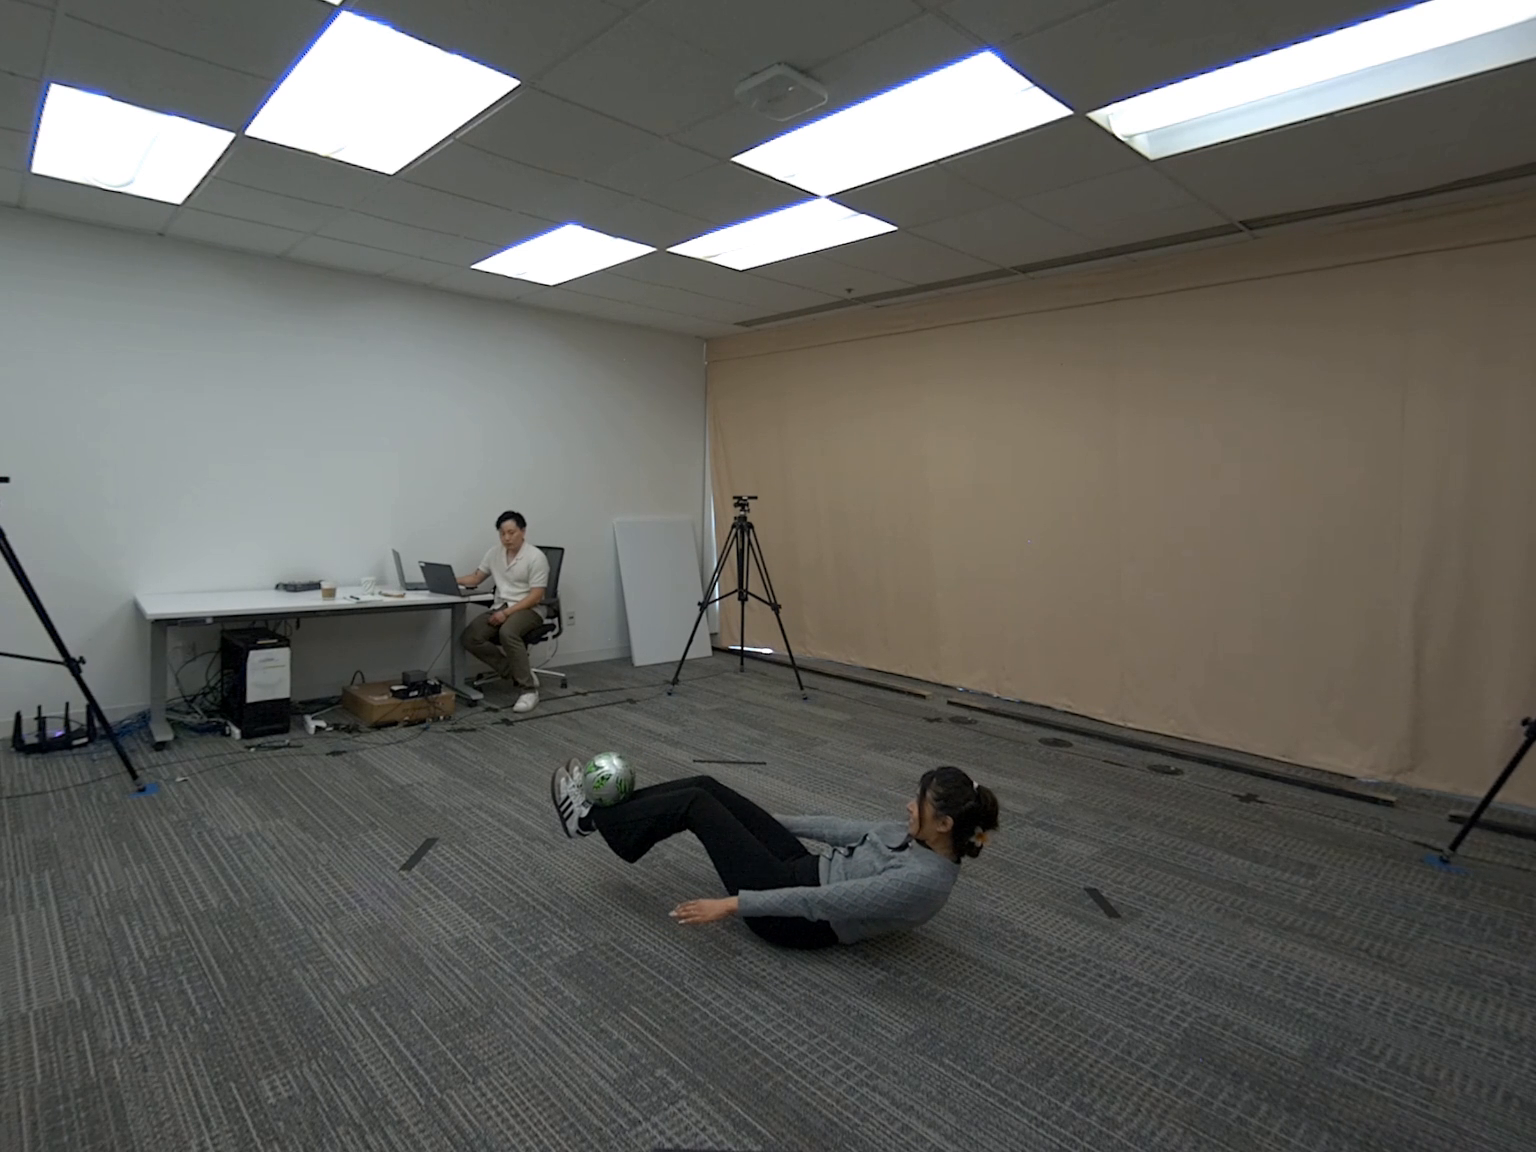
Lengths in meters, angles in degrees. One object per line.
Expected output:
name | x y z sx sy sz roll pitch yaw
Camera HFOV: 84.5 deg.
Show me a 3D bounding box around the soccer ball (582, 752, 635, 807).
soccer ball | -0.564 0.712 2.926 0.187 0.187 0.188 1 4 -1
